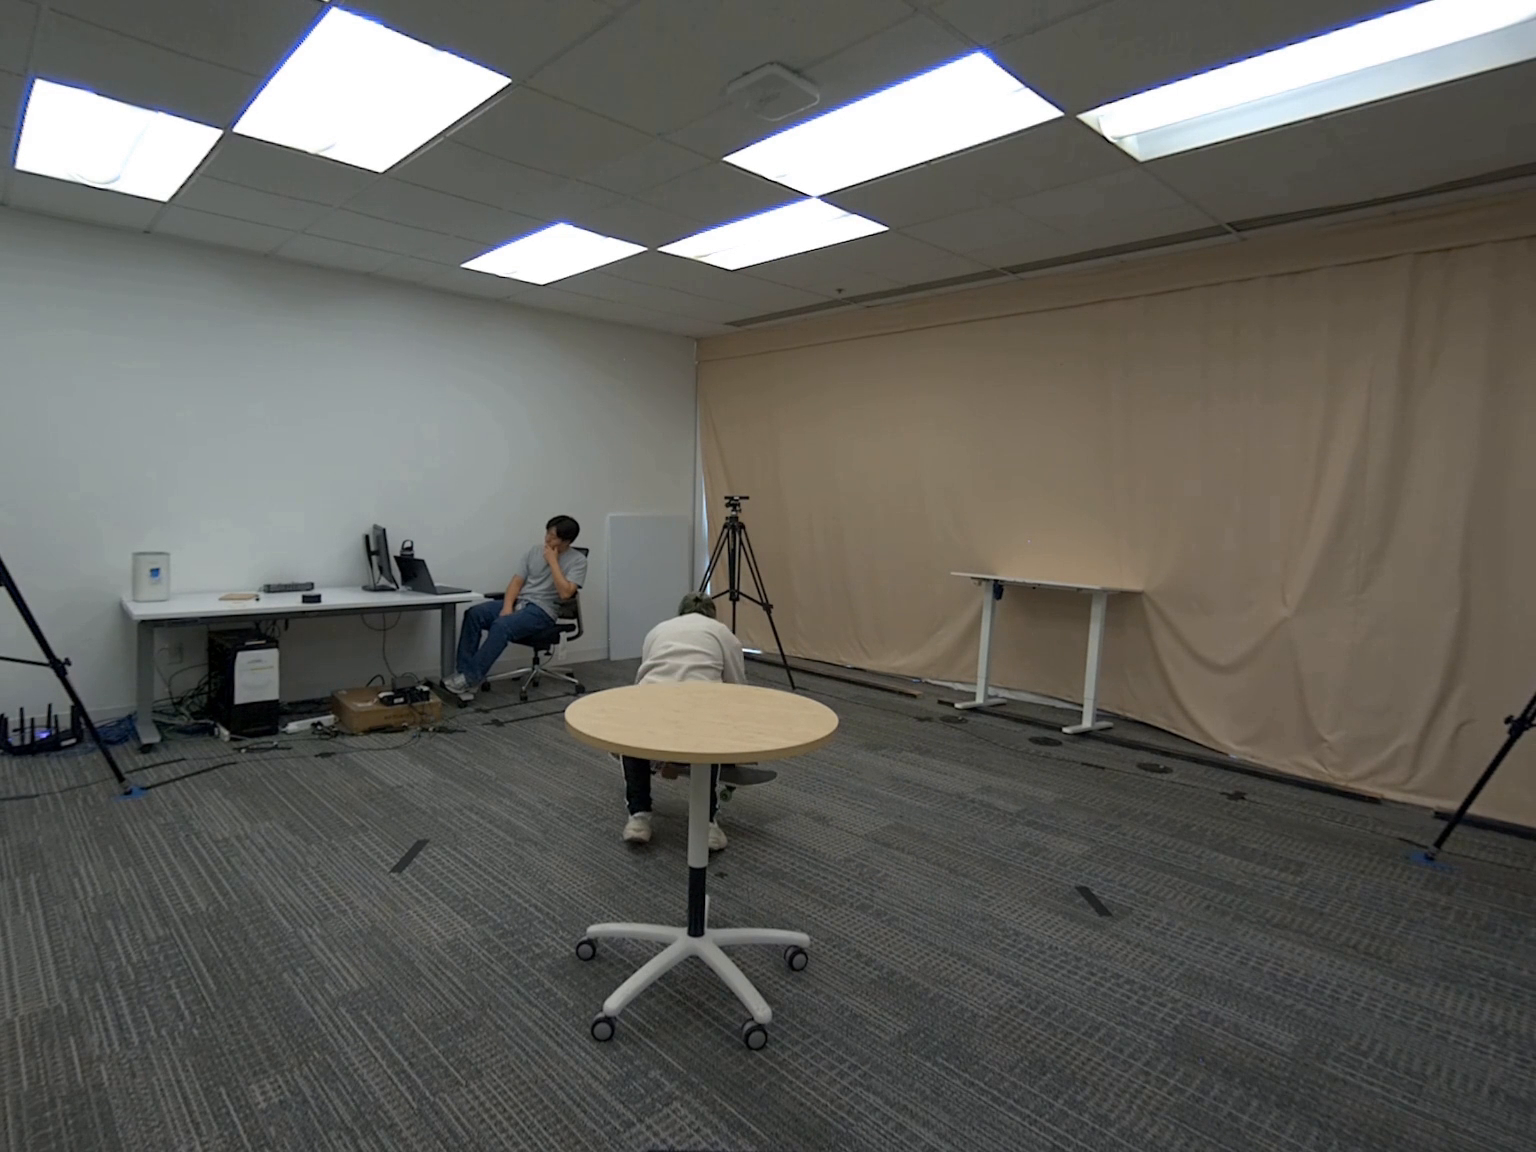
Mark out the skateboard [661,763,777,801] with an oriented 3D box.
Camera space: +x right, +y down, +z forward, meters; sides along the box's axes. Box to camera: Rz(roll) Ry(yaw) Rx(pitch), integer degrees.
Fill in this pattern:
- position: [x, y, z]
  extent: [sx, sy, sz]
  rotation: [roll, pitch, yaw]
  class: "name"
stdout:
- position: [-0.336, 0.851, 3.644]
  extent: [0.799, 0.110, 0.191]
  rotation: [4, 9, 22]
  class: "skateboard"
